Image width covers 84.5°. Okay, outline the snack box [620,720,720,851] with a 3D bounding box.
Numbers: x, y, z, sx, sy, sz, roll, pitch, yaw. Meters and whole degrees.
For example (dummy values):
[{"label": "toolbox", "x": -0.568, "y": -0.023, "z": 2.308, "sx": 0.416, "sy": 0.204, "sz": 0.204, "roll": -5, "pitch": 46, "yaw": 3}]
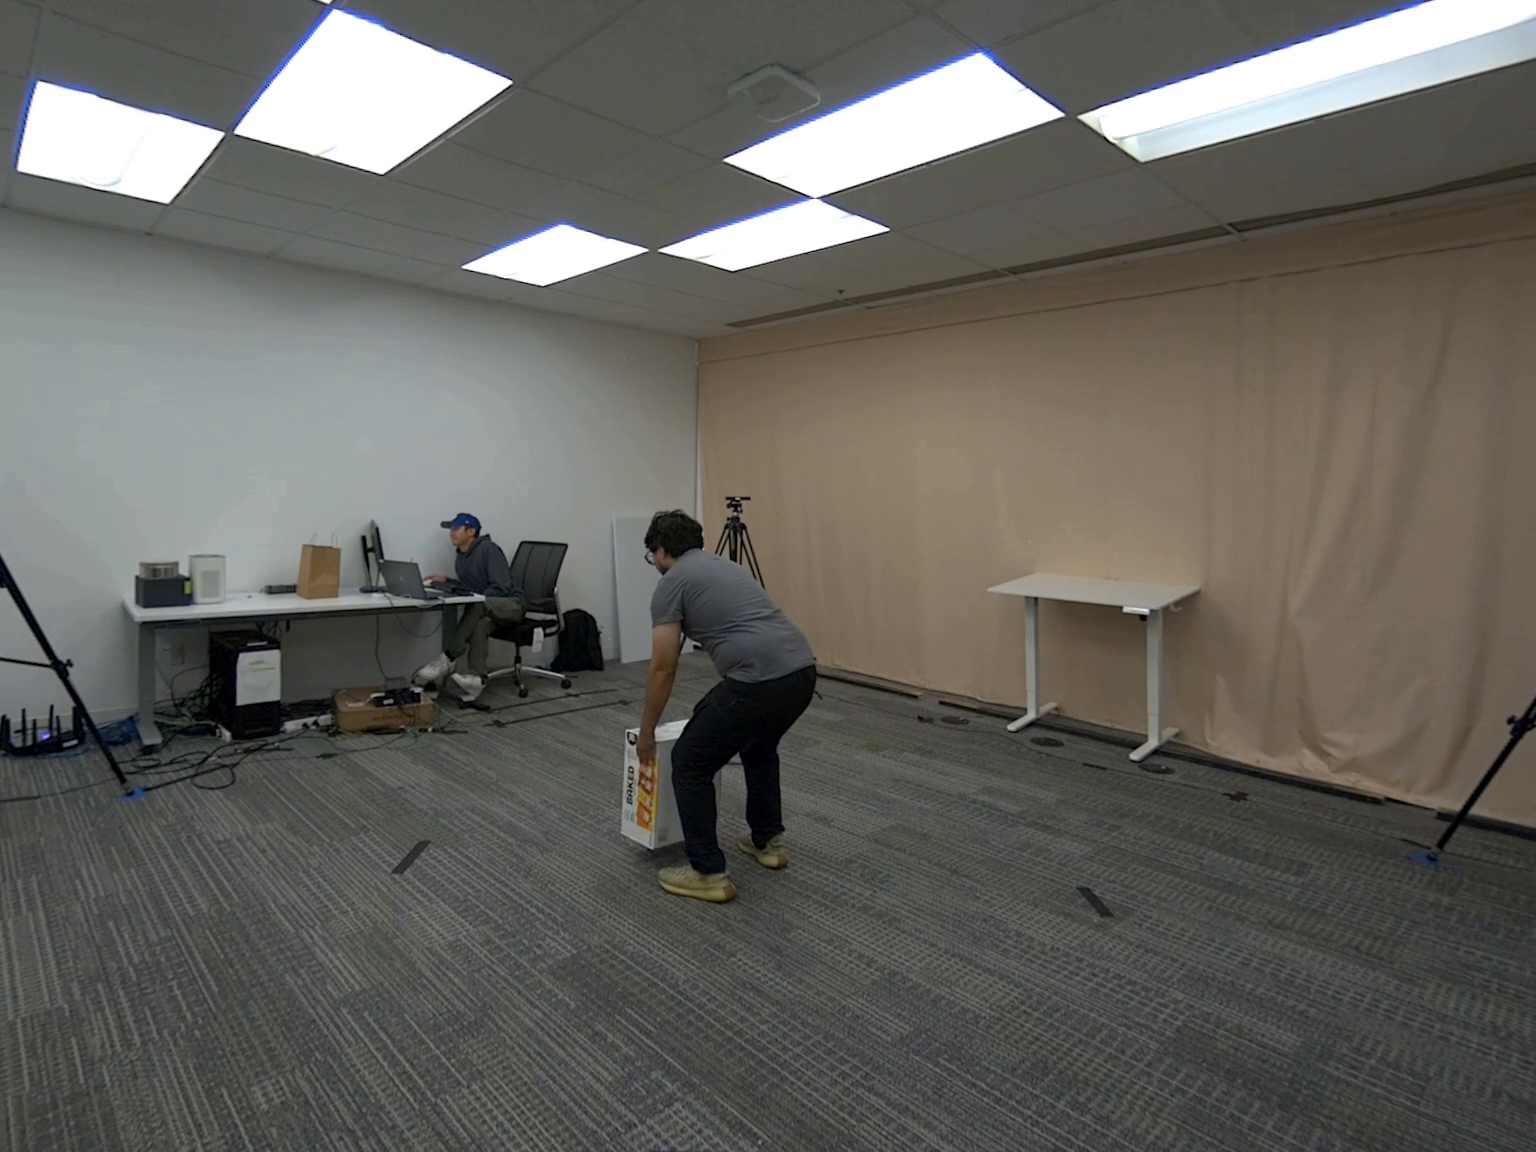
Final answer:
[{"label": "snack box", "x": -0.374, "y": 0.804, "z": 3.296, "sx": 0.211, "sy": 0.404, "sz": 0.332, "roll": 5, "pitch": 3, "yaw": 44}]
